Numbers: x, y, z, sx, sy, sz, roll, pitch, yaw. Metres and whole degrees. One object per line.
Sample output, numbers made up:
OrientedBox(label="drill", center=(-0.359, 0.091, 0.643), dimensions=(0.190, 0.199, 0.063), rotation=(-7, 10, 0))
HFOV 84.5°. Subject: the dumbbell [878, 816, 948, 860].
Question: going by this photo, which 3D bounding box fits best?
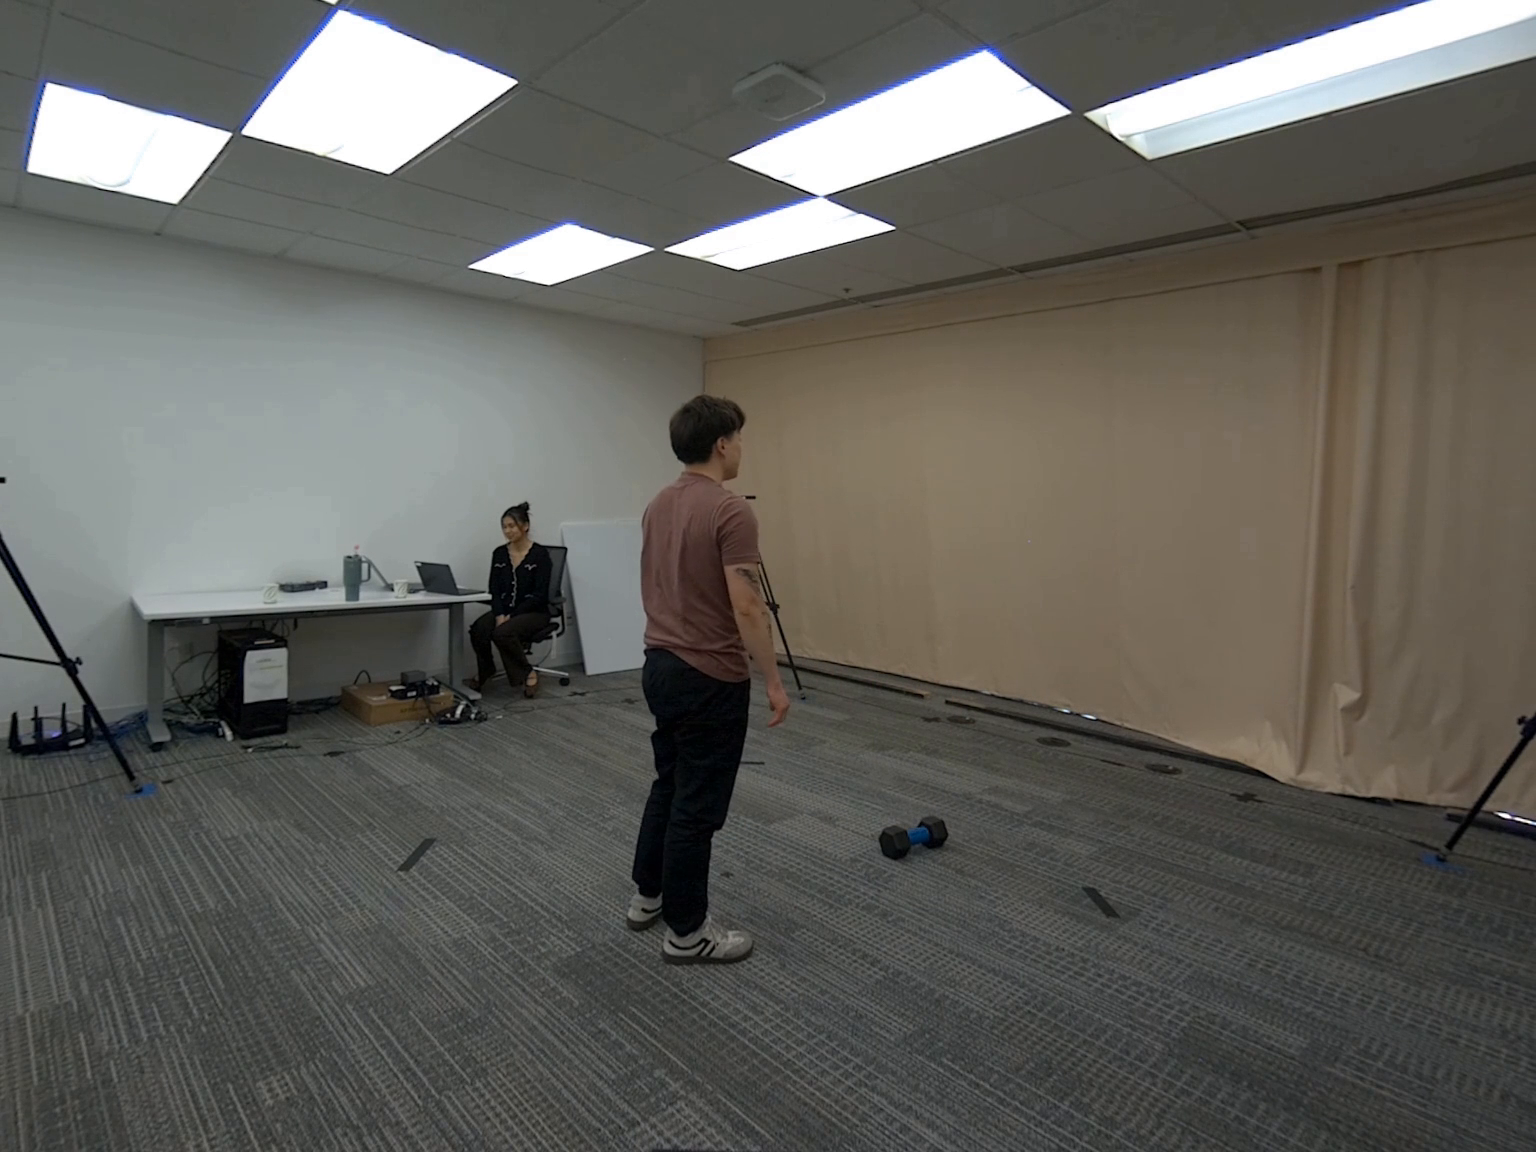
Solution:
OrientedBox(label="dumbbell", center=(0.575, 1.041, 3.361), dimensions=(0.287, 0.121, 0.112), rotation=(-2, 35, -34))
